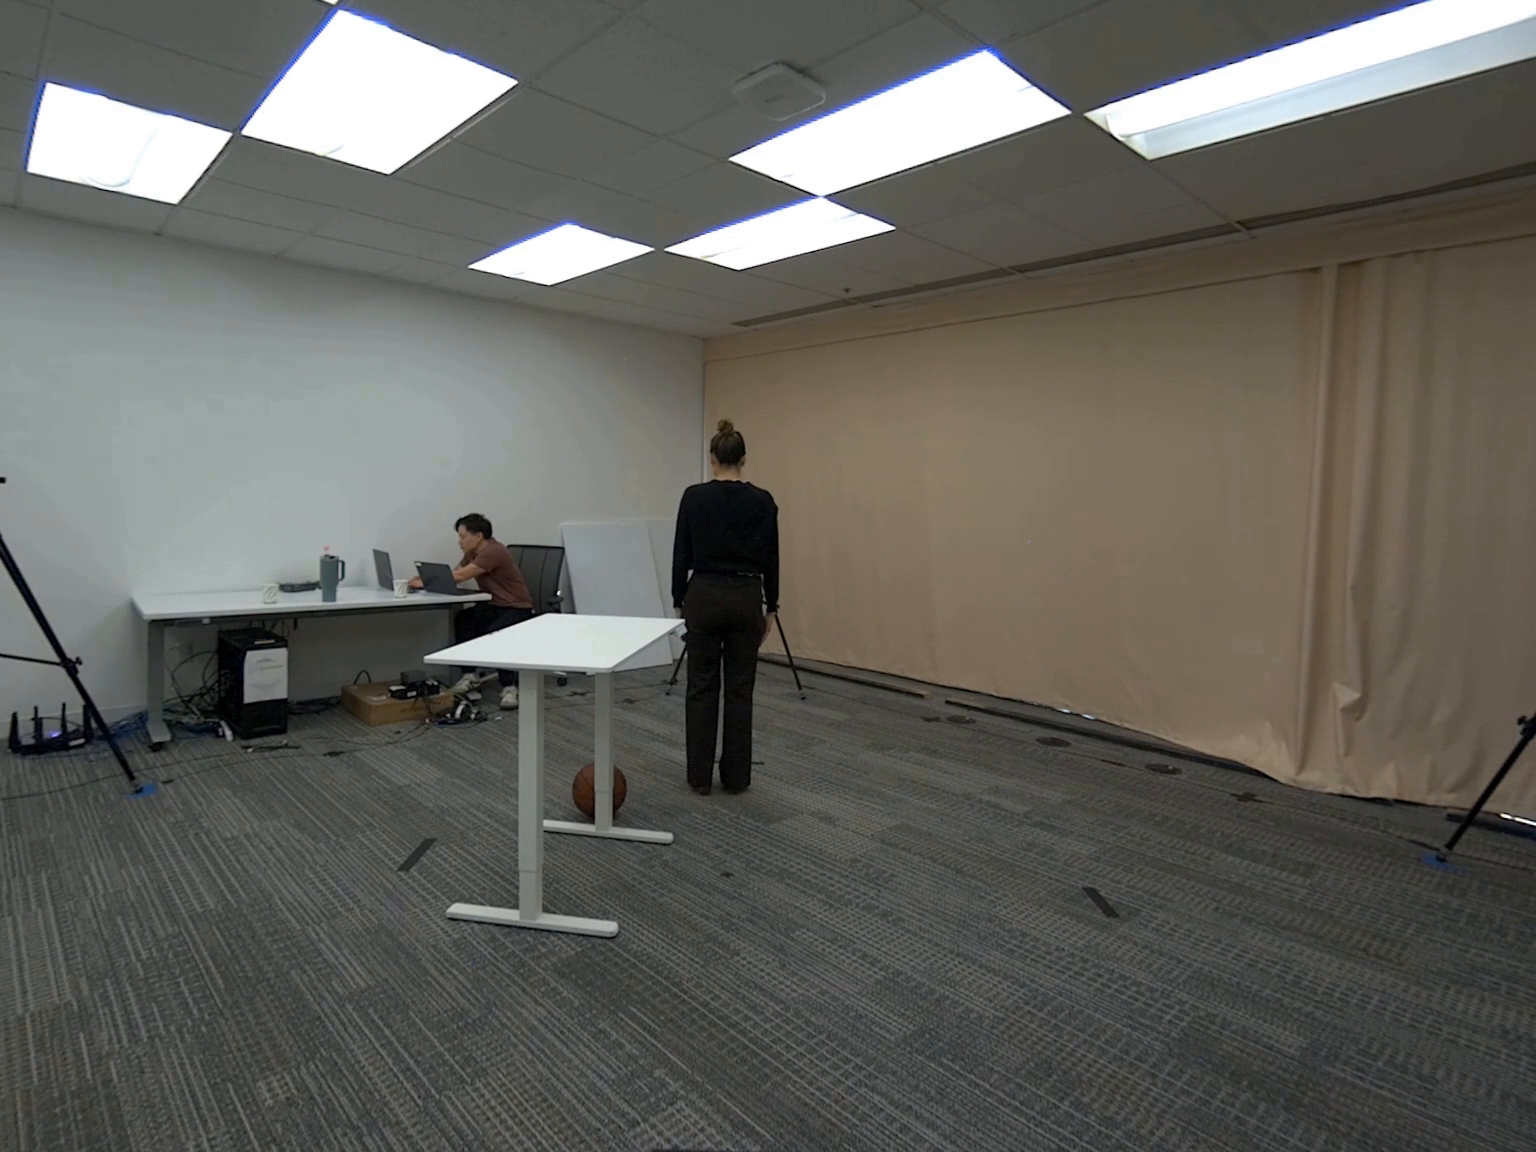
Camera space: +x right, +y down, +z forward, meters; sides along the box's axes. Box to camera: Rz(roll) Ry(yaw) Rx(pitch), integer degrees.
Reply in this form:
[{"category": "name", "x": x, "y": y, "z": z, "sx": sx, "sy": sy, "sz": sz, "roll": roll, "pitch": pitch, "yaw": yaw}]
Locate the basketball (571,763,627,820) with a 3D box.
[{"category": "basketball", "x": -0.738, "y": 0.924, "z": 3.645, "sx": 0.236, "sy": 0.235, "sz": 0.237, "roll": 1, "pitch": 4, "yaw": -1}]
